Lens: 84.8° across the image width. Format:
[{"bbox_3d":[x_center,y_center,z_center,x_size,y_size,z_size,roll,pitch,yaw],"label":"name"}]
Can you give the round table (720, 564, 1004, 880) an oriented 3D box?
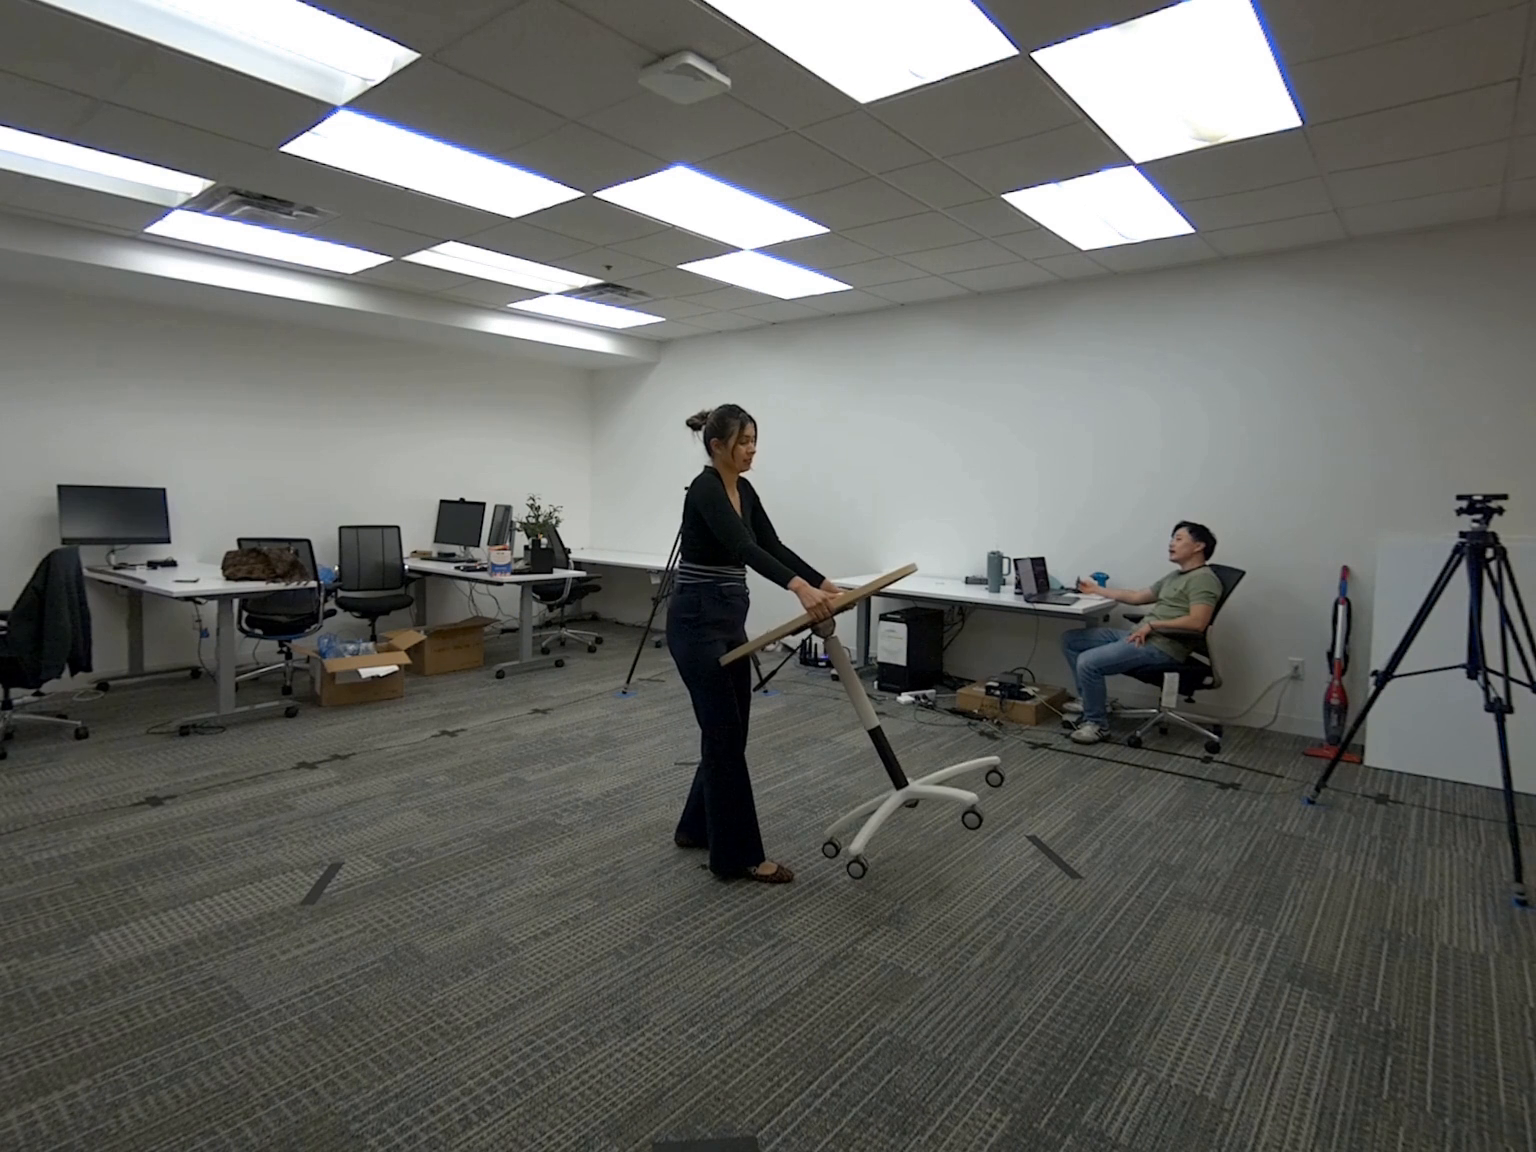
[{"bbox_3d":[0.339,0.487,2.939,0.762,0.803,0.758,-25,-7,-5],"label":"round table"}]
